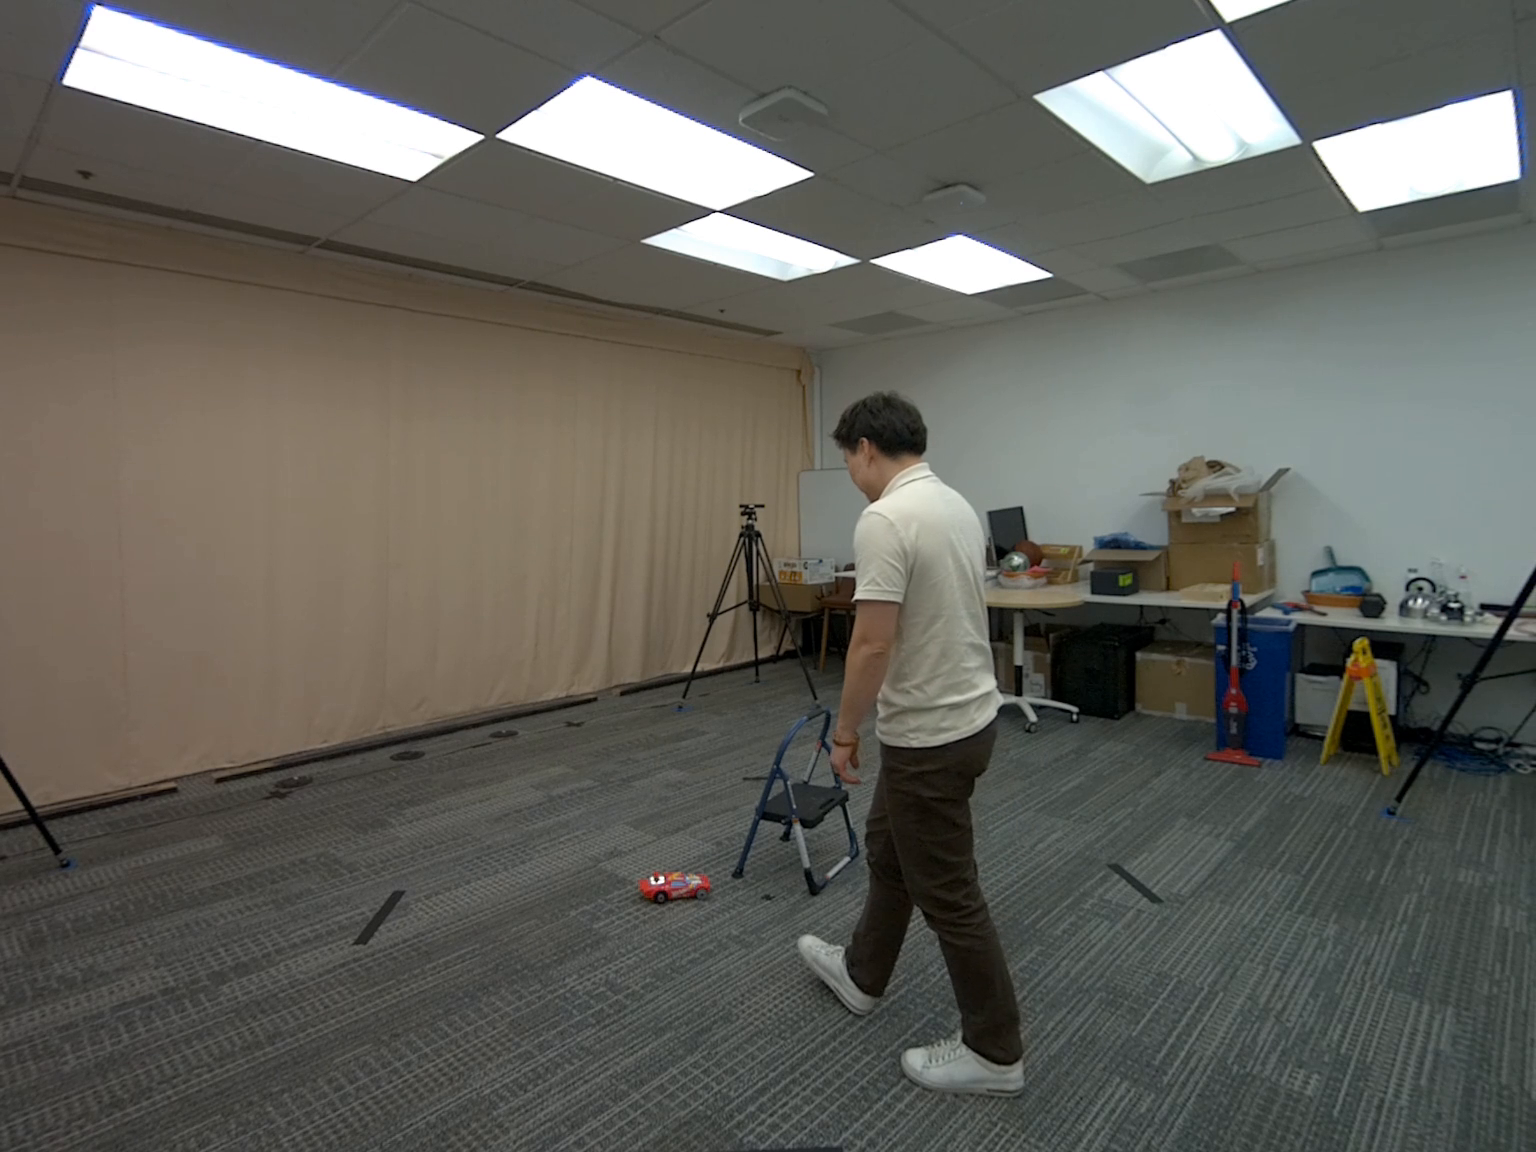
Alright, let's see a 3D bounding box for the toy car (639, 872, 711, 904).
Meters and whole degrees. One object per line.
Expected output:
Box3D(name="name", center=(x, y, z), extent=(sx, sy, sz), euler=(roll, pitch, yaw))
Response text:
Box3D(name="toy car", center=(-0.342, 1.116, 3.005), extent=(0.251, 0.083, 0.132), euler=(10, 2, -11))
